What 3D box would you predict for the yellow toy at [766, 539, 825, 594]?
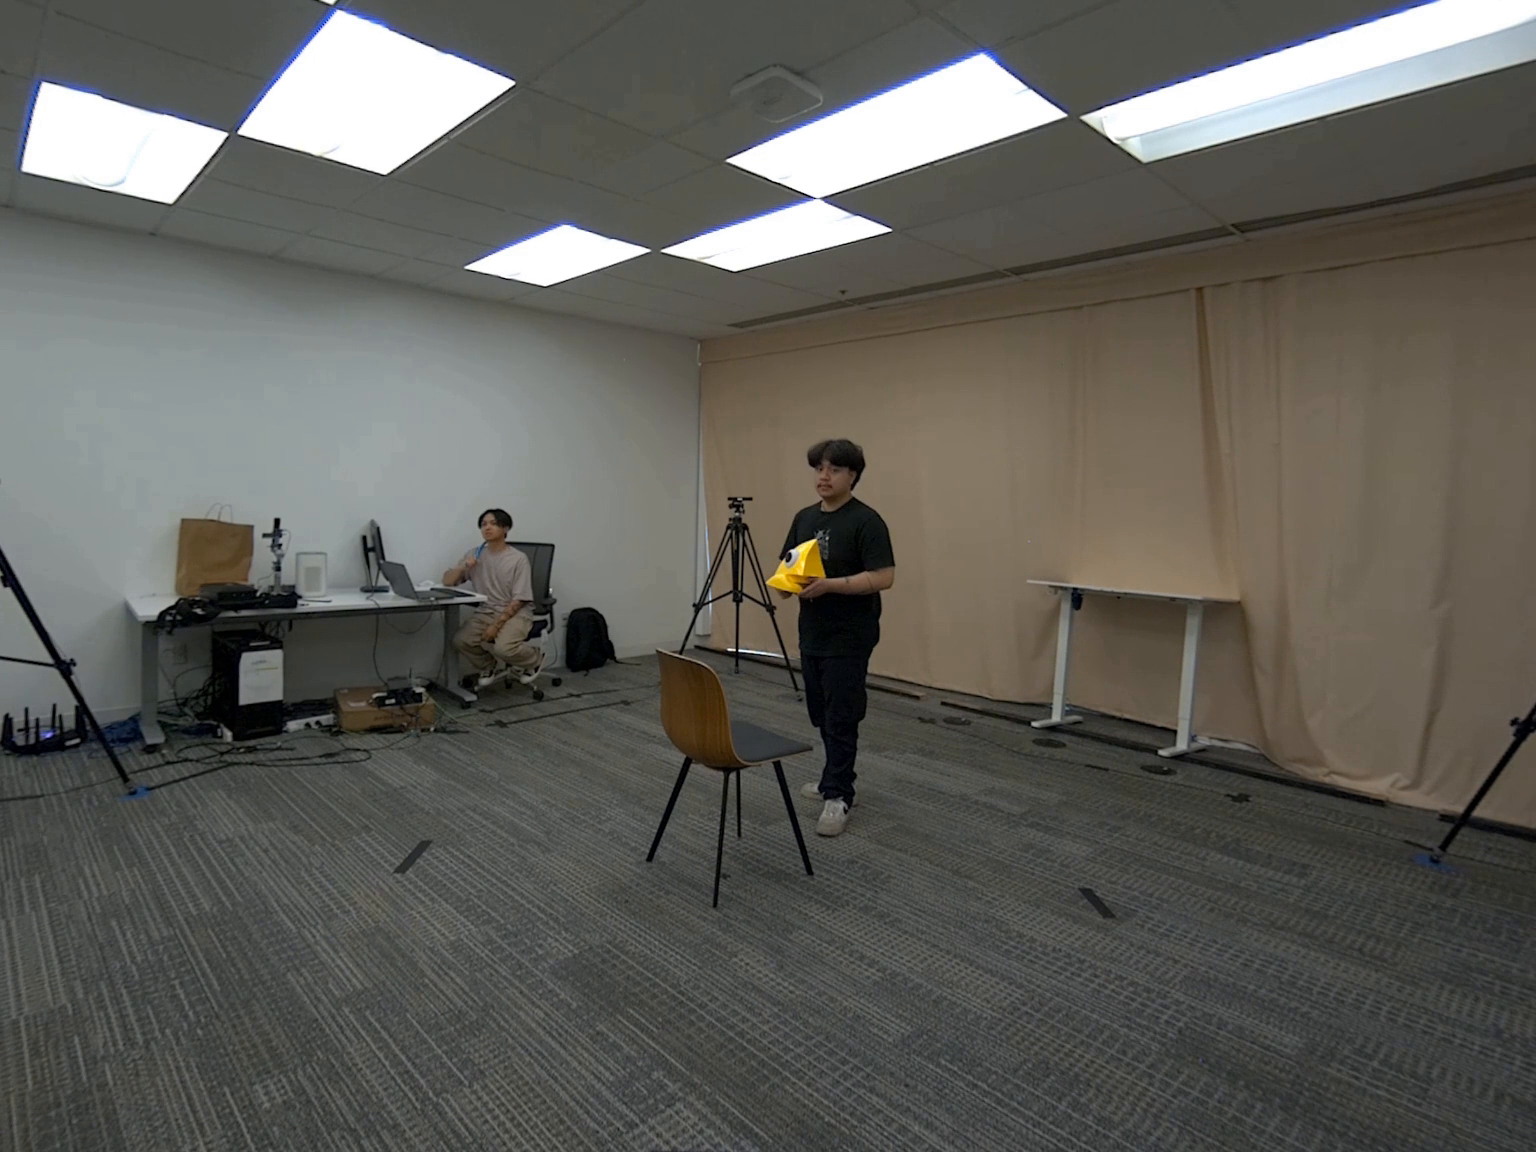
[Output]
[{"bbox_3d":[0.114,-0.057,3.523,0.198,0.230,0.200,16,6,31],"label":"yellow toy"}]
